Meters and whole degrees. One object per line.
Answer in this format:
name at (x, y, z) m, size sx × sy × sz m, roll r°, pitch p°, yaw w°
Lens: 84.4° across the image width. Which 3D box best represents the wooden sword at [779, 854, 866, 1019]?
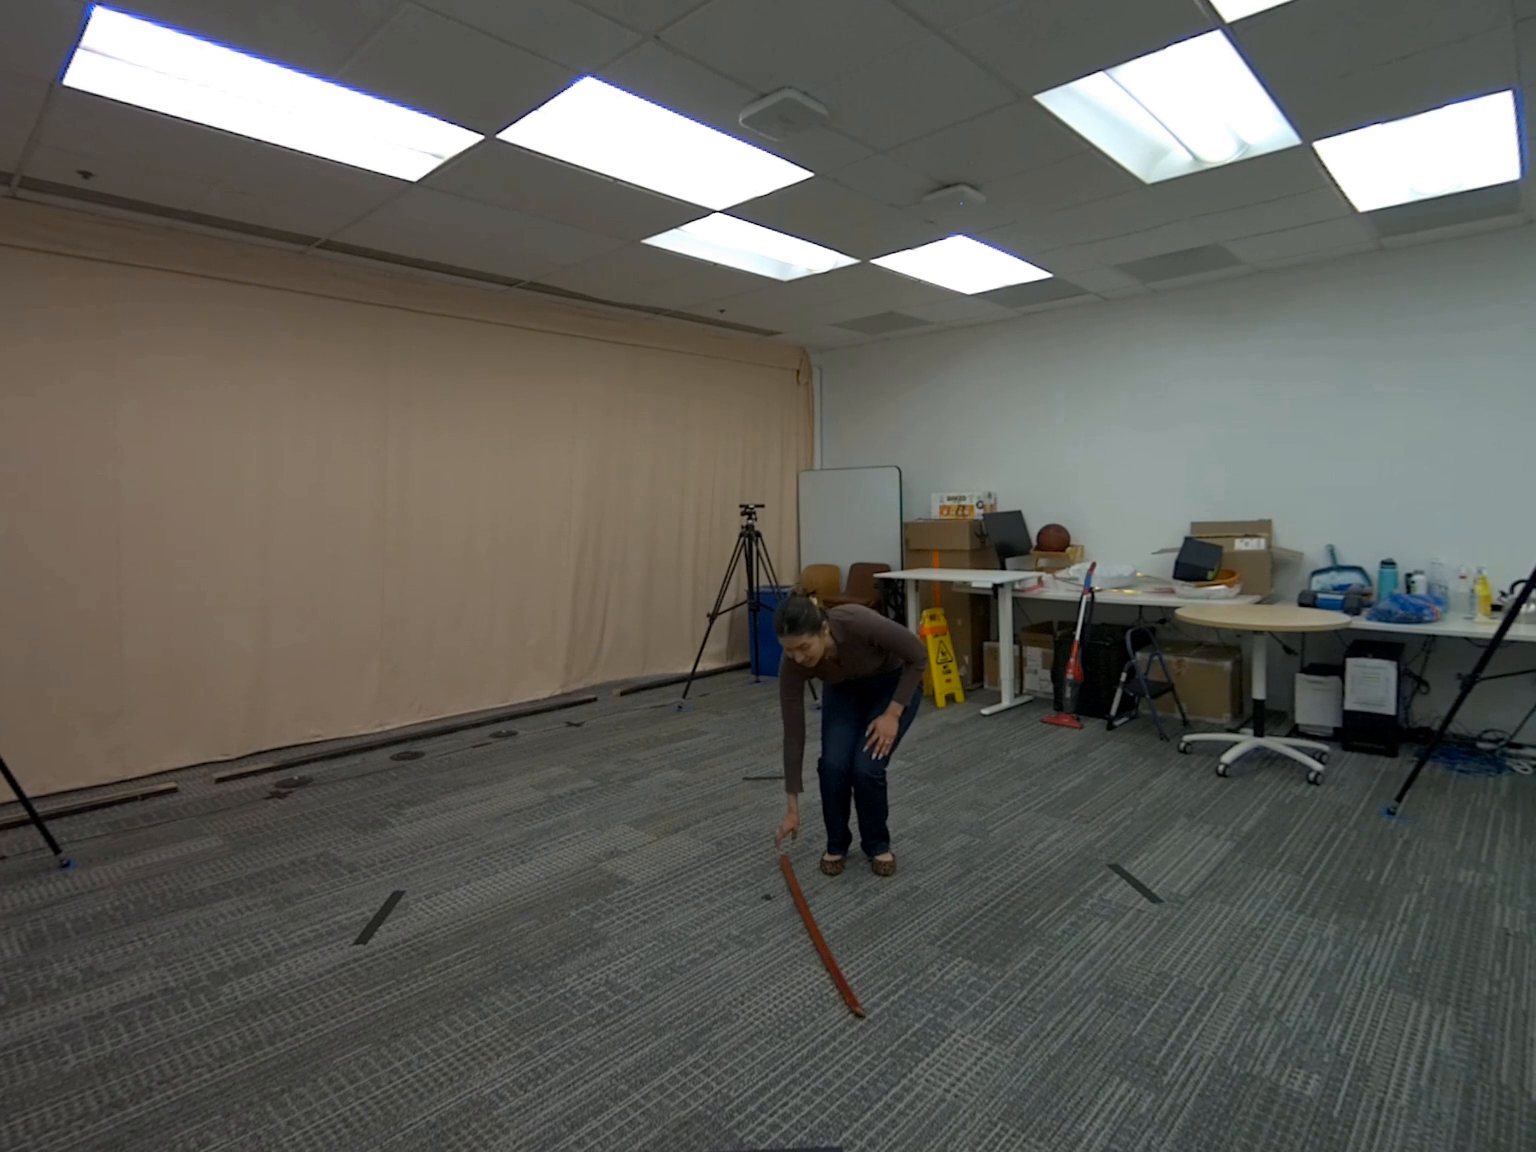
wooden sword at (0.144, 1.122, 2.778) m, size 0.024 × 0.051 × 1.037 m, roll -41°, pitch 10°, yaw -5°
